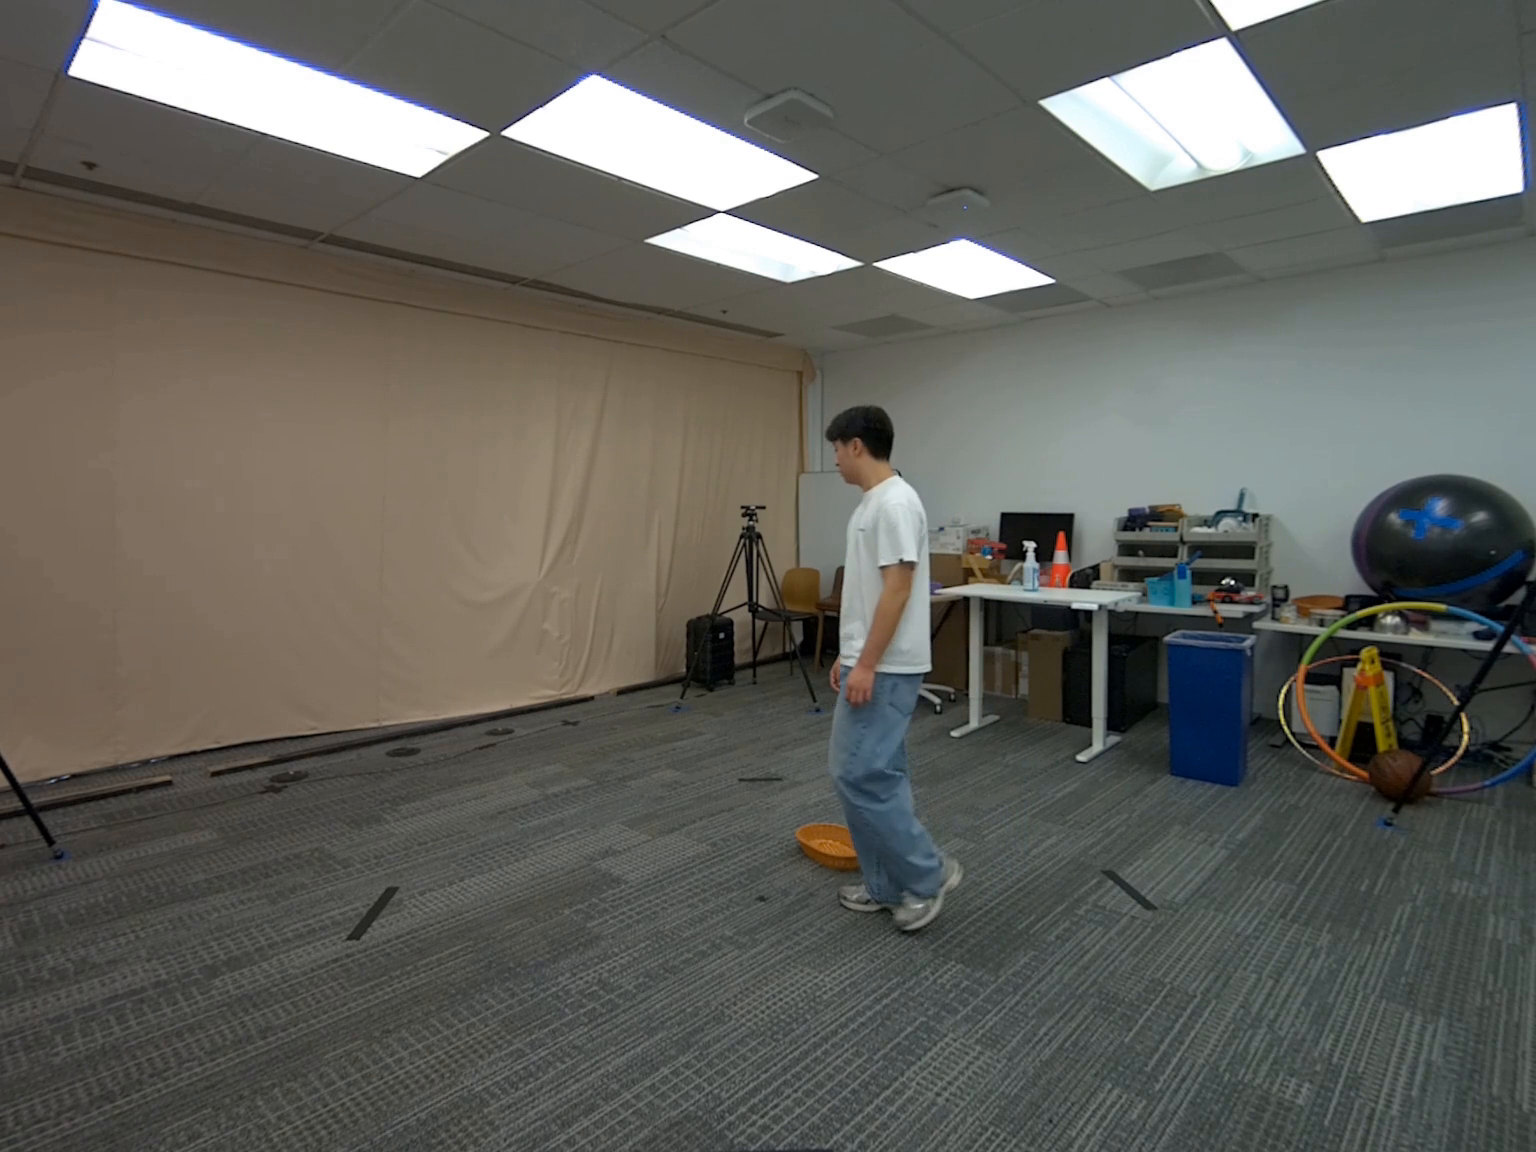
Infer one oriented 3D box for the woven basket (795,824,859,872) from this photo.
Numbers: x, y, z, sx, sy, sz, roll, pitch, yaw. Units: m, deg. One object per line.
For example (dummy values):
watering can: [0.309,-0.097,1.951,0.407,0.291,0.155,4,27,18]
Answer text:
woven basket: [0.261,1.076,3.336,0.245,0.073,0.361,-3,5,-31]
